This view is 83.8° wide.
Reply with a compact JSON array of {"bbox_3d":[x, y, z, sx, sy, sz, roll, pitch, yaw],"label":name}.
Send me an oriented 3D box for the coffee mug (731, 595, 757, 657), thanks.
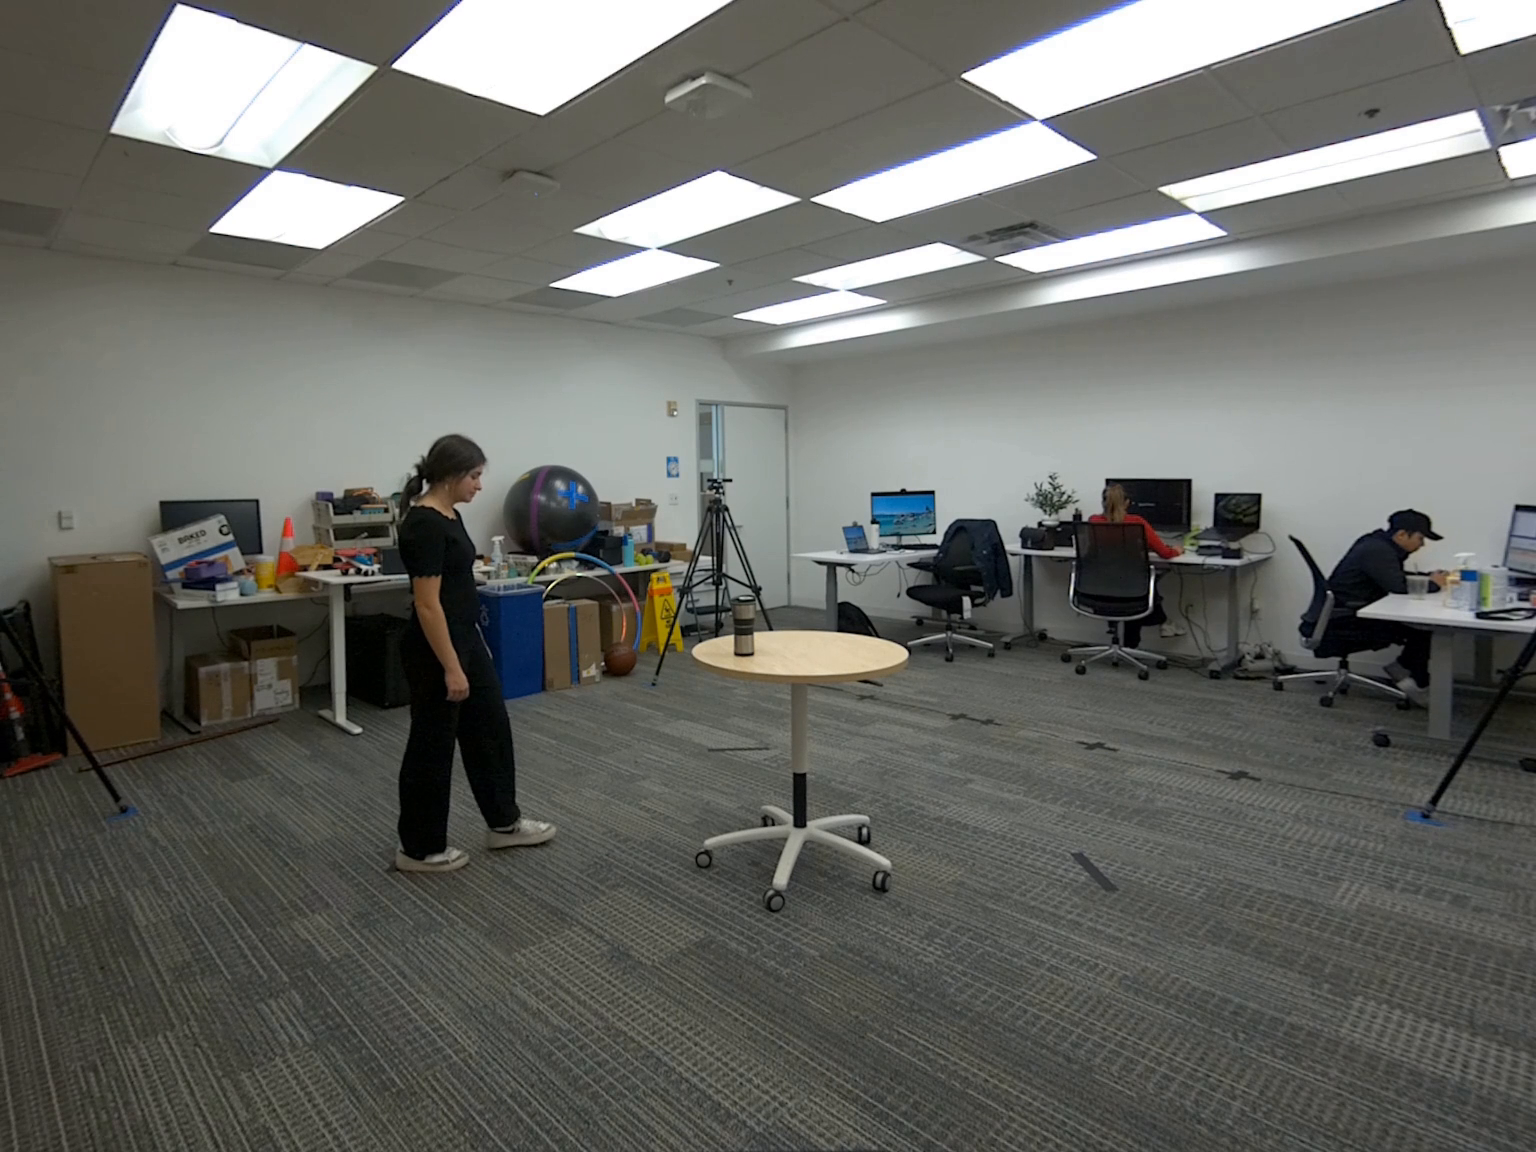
[{"bbox_3d":[-0.073,0.174,2.986,0.119,0.202,0.090,-8,4,-44],"label":"coffee mug"}]
